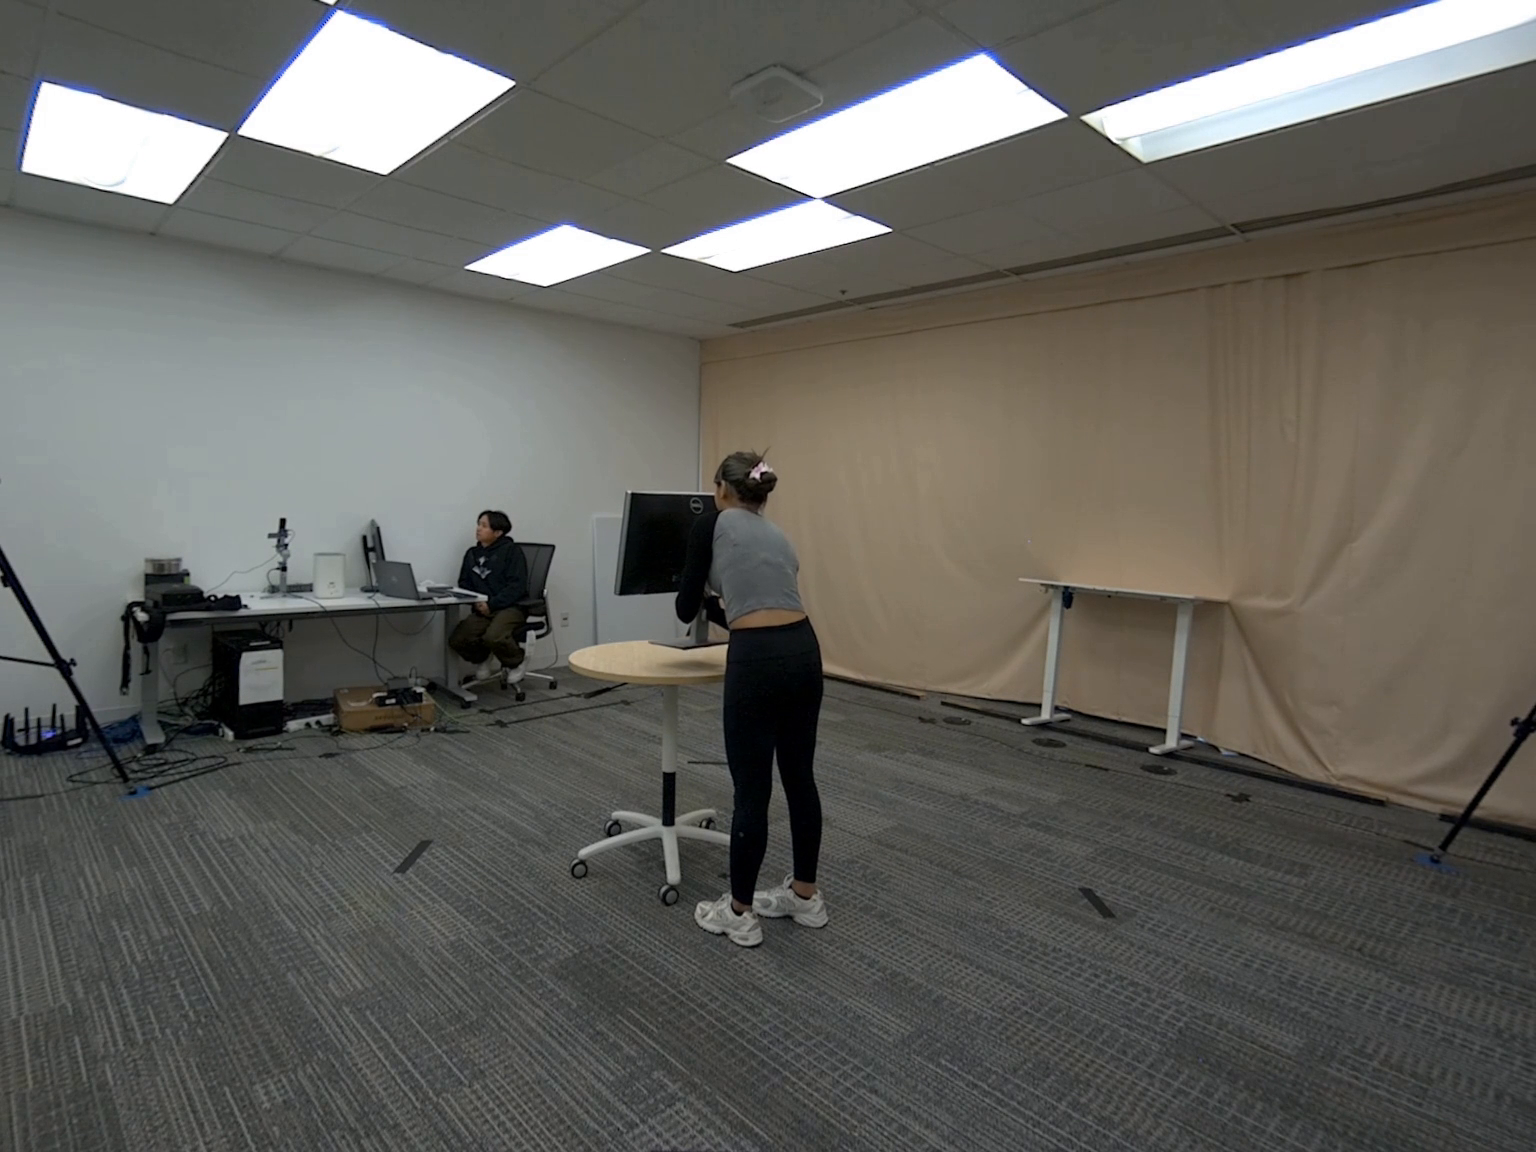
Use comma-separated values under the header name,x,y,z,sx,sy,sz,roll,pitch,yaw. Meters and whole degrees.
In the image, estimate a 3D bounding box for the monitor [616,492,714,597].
name,x,y,z,sx,sy,sz,roll,pitch,yaw
monitor,-0.276,-0.023,2.998,0.191,0.522,0.527,0,2,43
